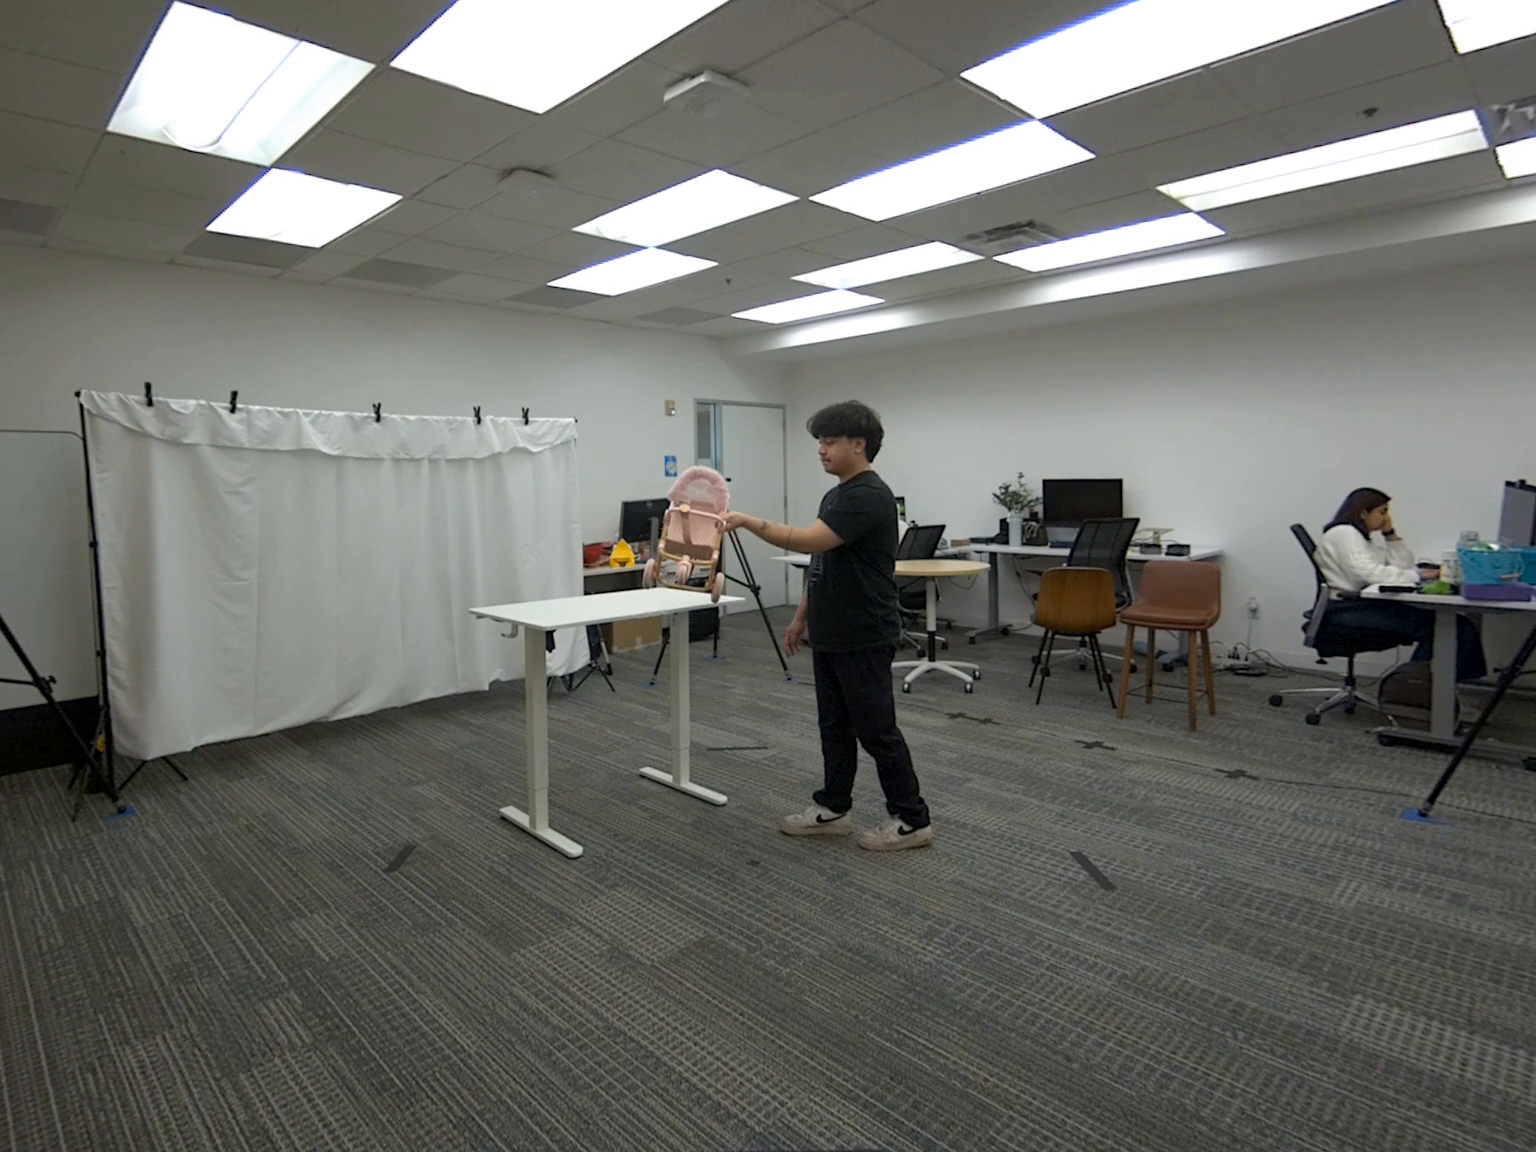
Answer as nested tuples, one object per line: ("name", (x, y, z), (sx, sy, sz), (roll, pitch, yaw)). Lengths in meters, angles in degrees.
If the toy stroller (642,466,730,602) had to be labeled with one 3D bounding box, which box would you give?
("toy stroller", (-0.266, -0.161, 3.015), (0.282, 0.544, 0.334), (9, -27, 1))
